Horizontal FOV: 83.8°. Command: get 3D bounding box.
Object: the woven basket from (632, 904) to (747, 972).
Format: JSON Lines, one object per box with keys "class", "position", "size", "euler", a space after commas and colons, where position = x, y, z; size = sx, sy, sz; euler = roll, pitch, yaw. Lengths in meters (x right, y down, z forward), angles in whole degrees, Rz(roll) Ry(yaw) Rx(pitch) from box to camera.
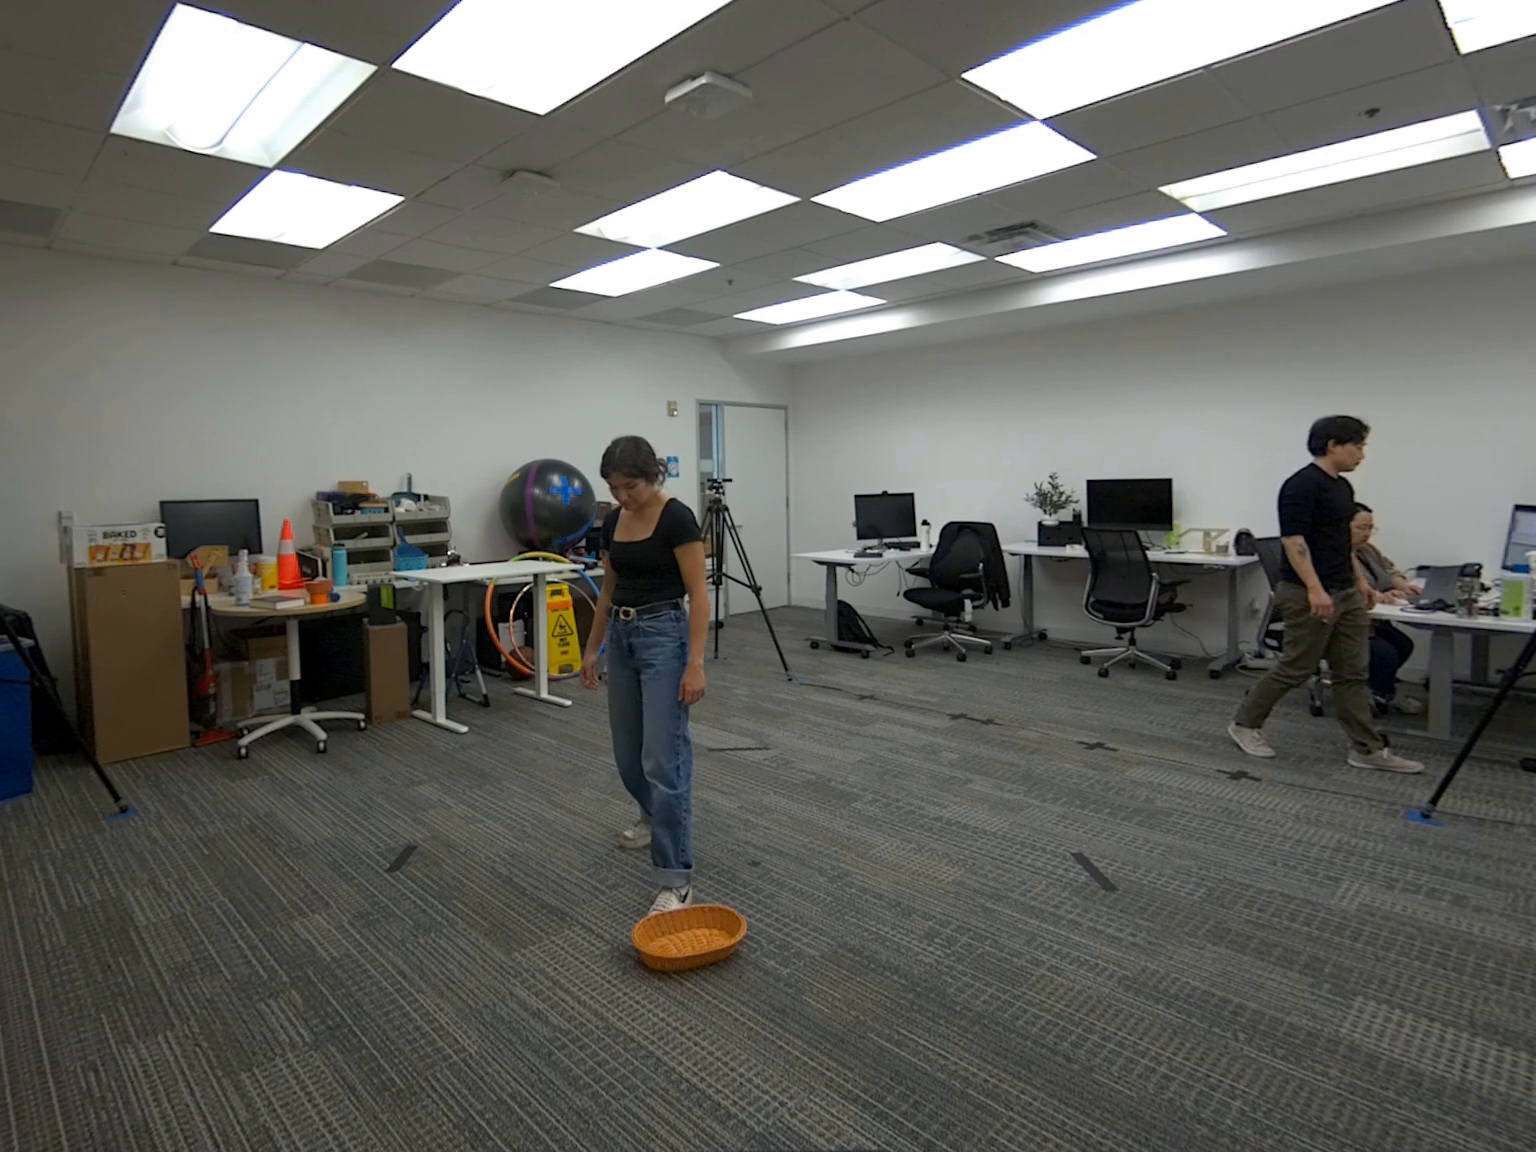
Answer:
{"class": "woven basket", "position": [-0.229, 1.075, 2.534], "size": [0.344, 0.073, 0.259], "euler": [-3, 9, -21]}
